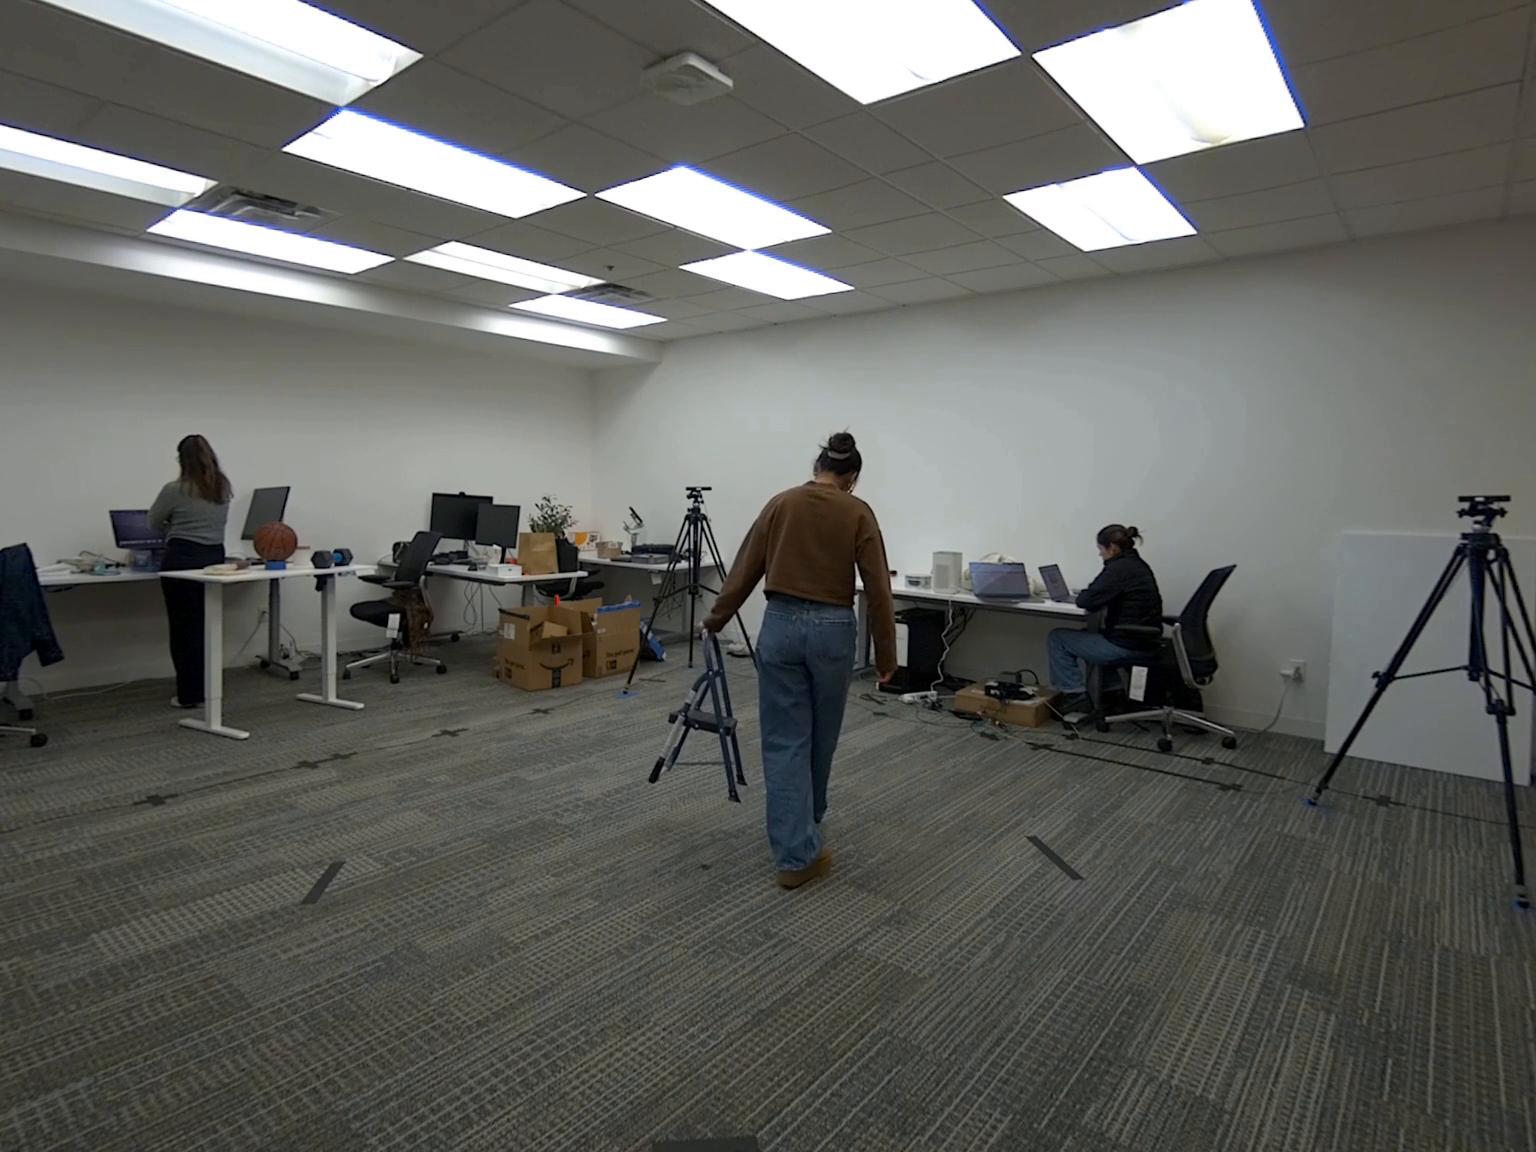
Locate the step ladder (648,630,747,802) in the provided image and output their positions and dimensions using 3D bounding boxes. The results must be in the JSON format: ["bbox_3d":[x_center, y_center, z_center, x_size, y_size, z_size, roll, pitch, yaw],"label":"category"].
[{"bbox_3d":[-0.226,0.526,3.399,0.352,0.609,0.425,10,-6,6],"label":"step ladder"}]
